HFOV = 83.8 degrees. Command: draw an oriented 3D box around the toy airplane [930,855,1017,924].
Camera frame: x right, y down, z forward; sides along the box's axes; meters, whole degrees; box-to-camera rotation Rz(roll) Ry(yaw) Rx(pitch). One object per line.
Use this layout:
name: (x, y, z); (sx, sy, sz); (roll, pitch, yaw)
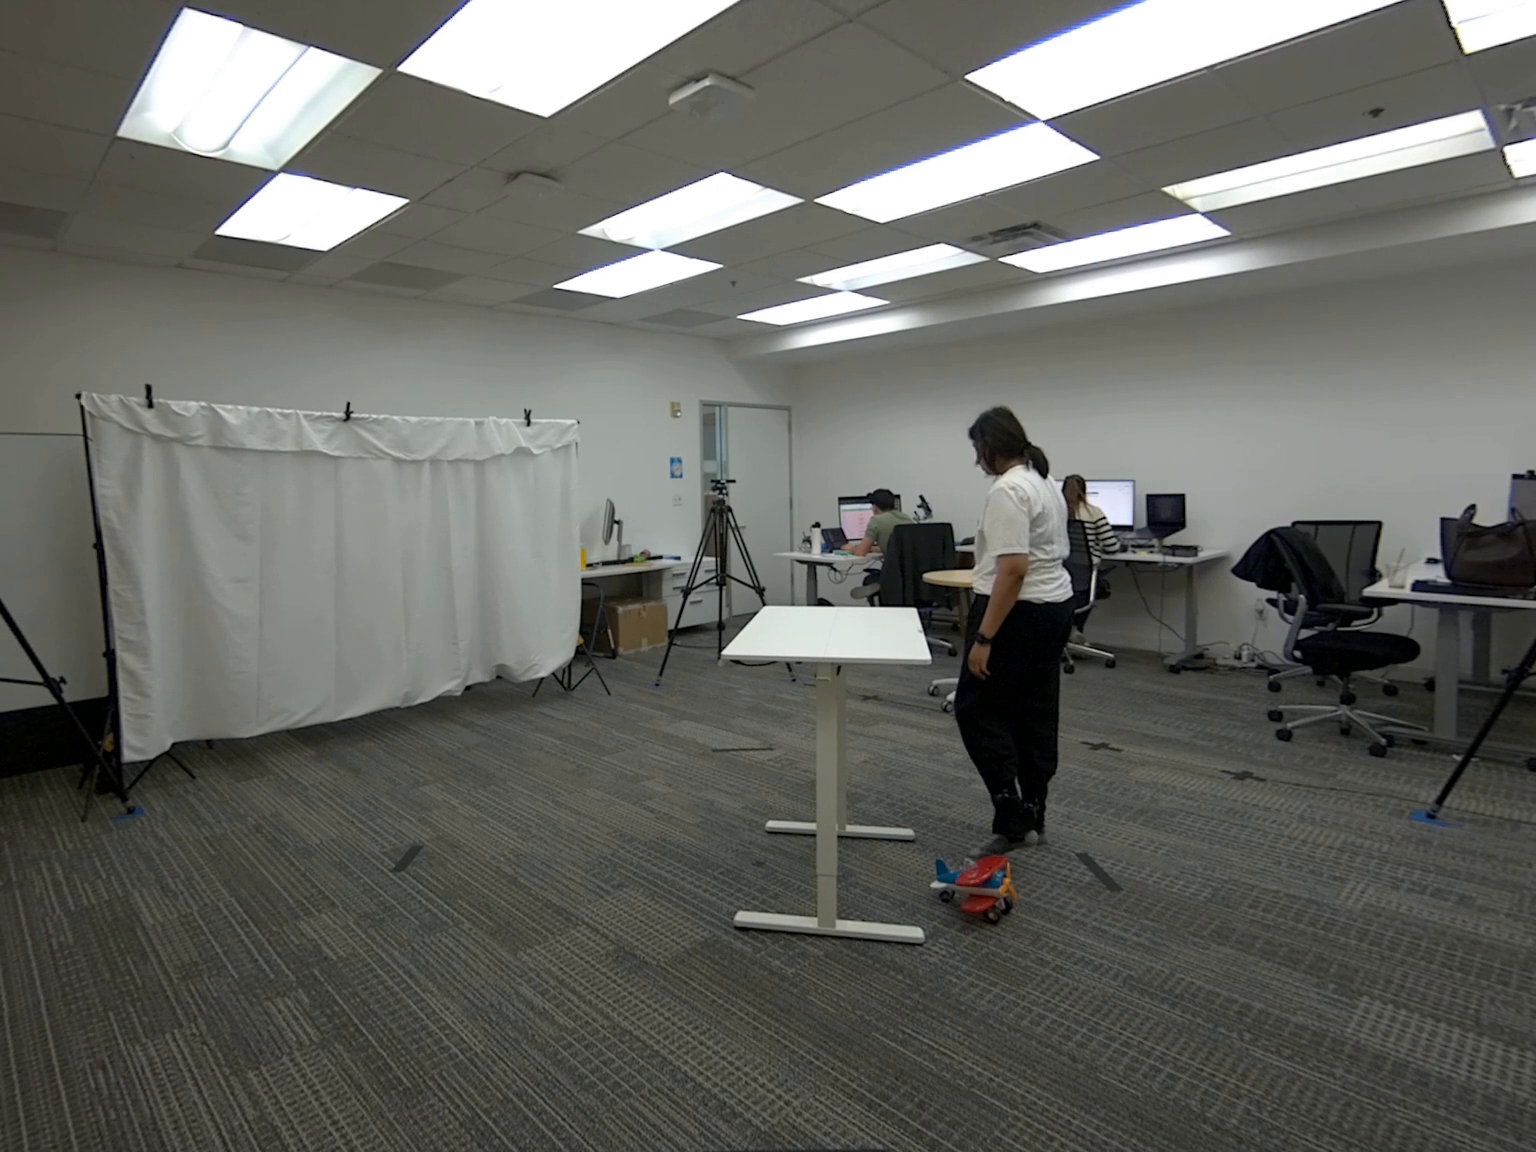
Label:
toy airplane: (0.661, 1.004, 2.736); (0.263, 0.156, 0.249); (2, 6, 13)
